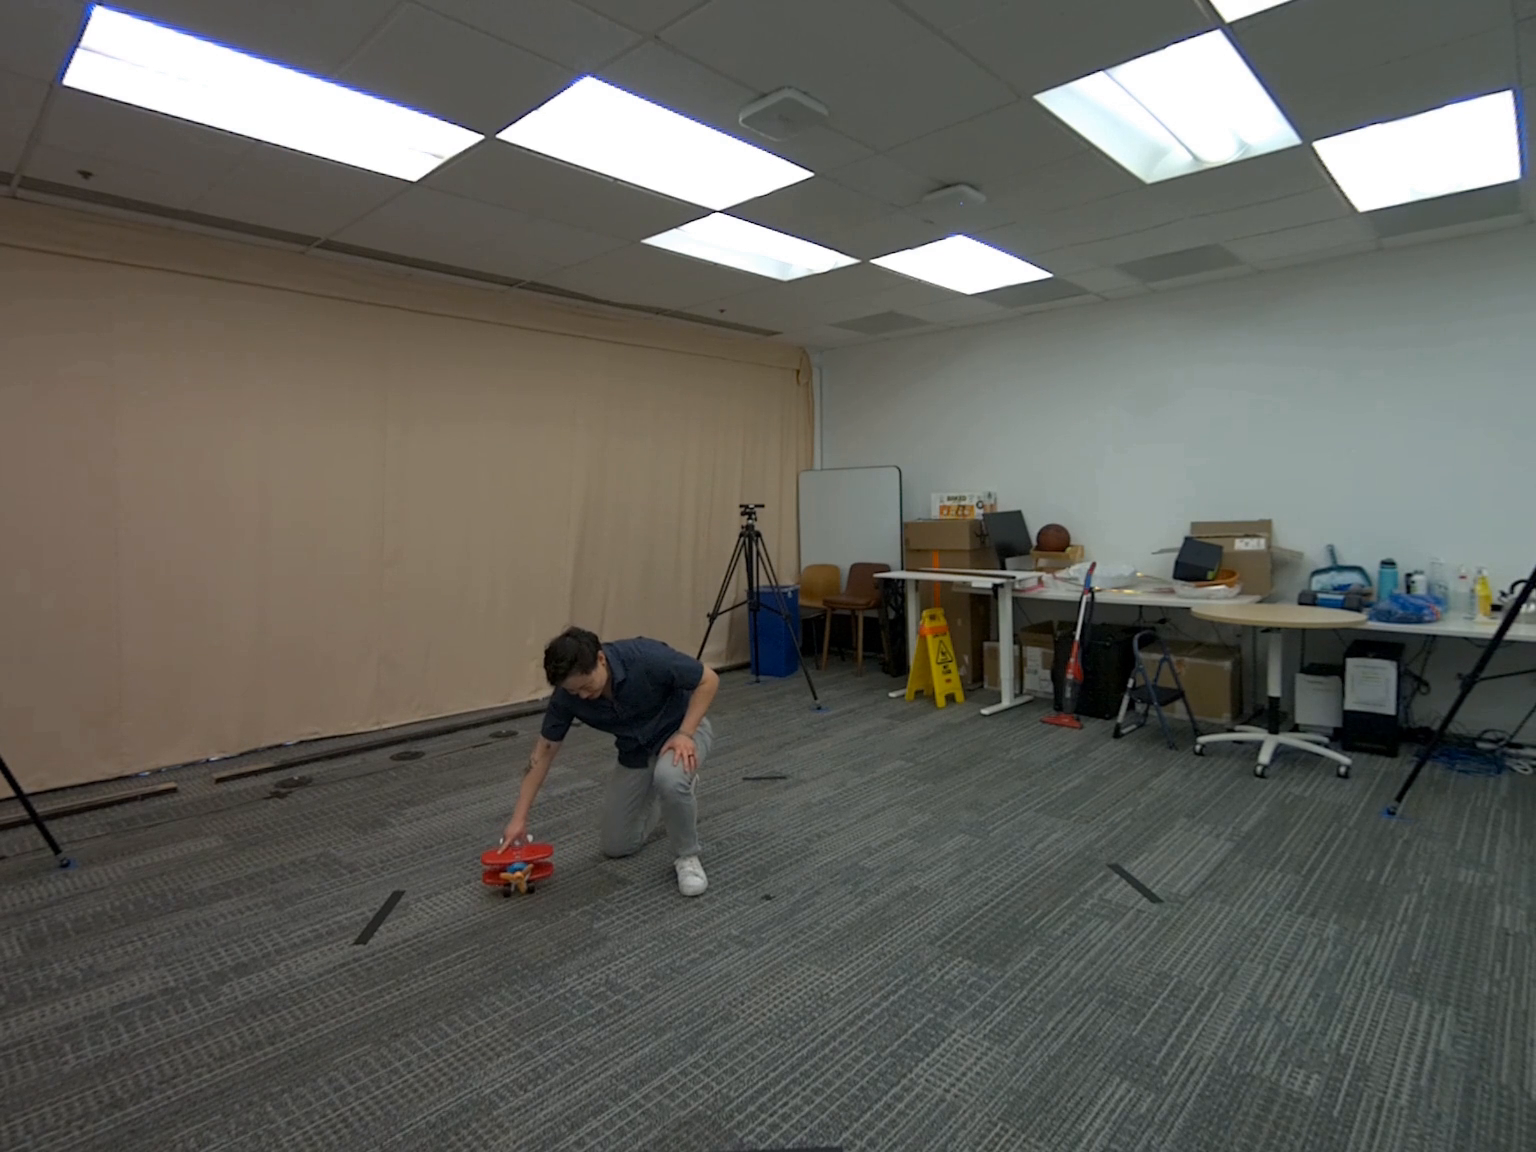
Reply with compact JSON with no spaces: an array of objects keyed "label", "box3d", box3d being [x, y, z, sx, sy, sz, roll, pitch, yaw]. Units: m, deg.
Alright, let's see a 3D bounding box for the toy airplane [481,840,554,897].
[{"label":"toy airplane","box3d":[-0.939,1.058,3.094,0.245,0.154,0.269,-21,40,-38]}]
